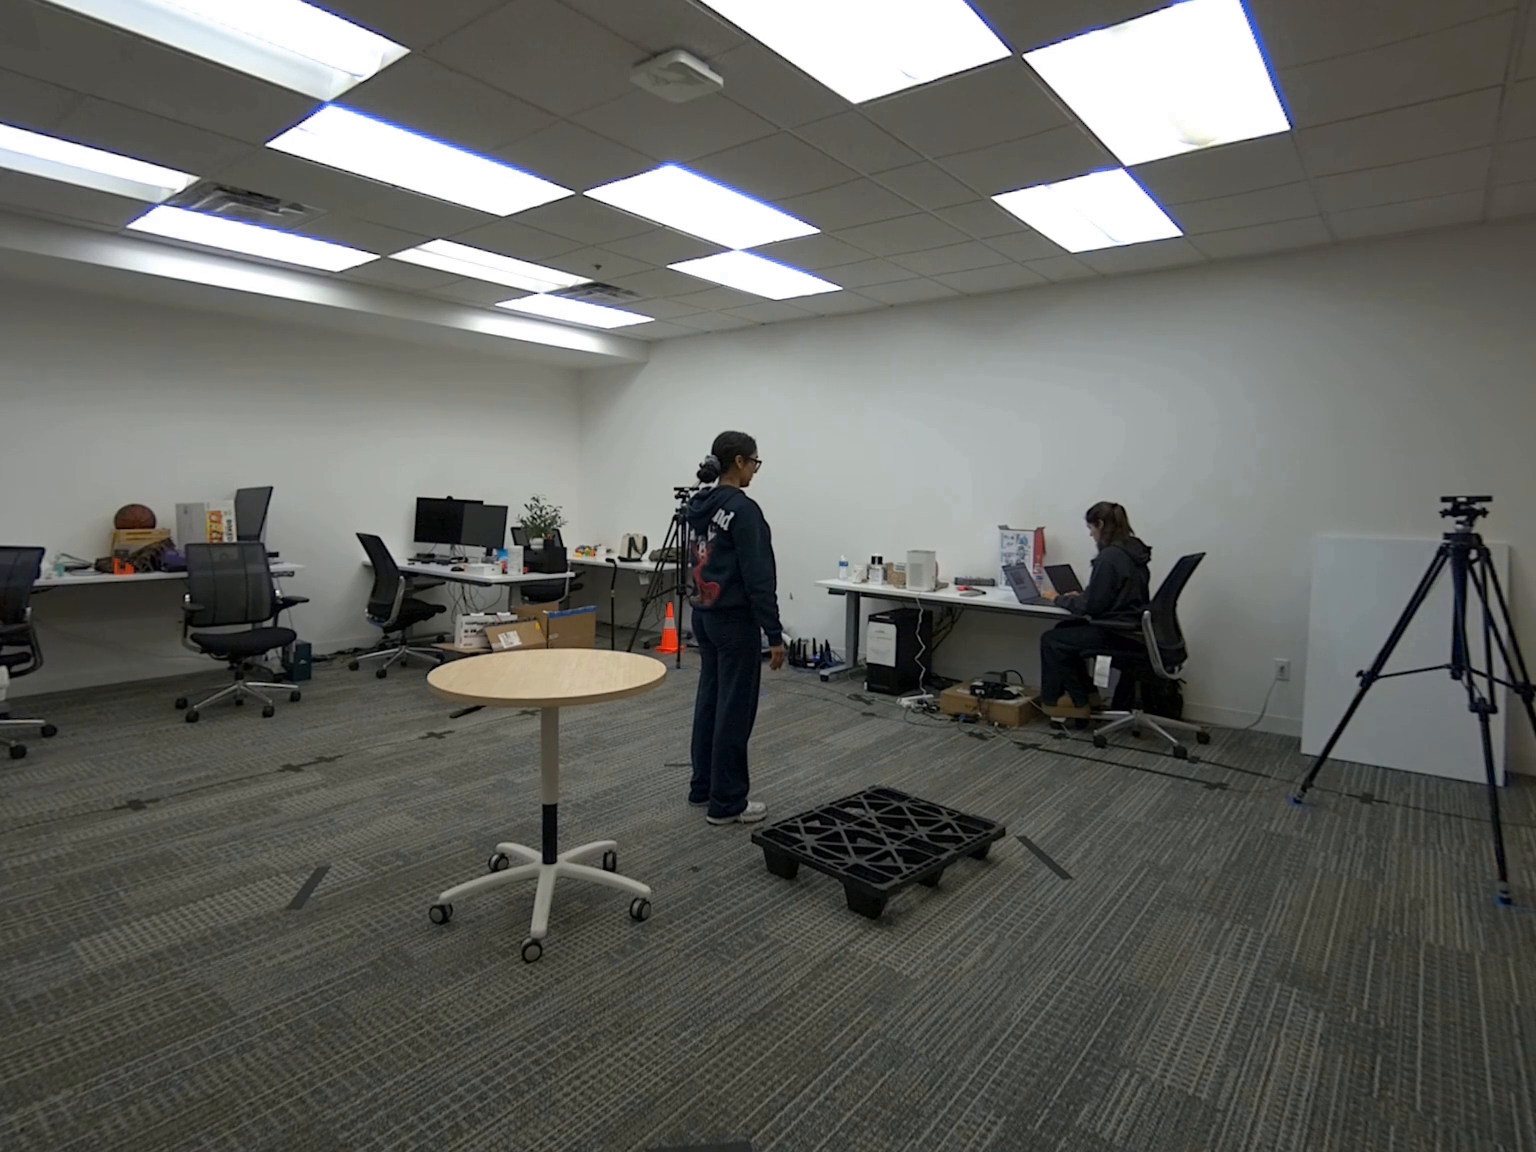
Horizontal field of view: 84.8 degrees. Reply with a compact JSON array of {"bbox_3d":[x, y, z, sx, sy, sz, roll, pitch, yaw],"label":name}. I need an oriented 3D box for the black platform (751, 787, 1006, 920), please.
[{"bbox_3d":[0.407,1.008,3.176,0.626,0.143,0.781,6,7,45],"label":"black platform"}]
